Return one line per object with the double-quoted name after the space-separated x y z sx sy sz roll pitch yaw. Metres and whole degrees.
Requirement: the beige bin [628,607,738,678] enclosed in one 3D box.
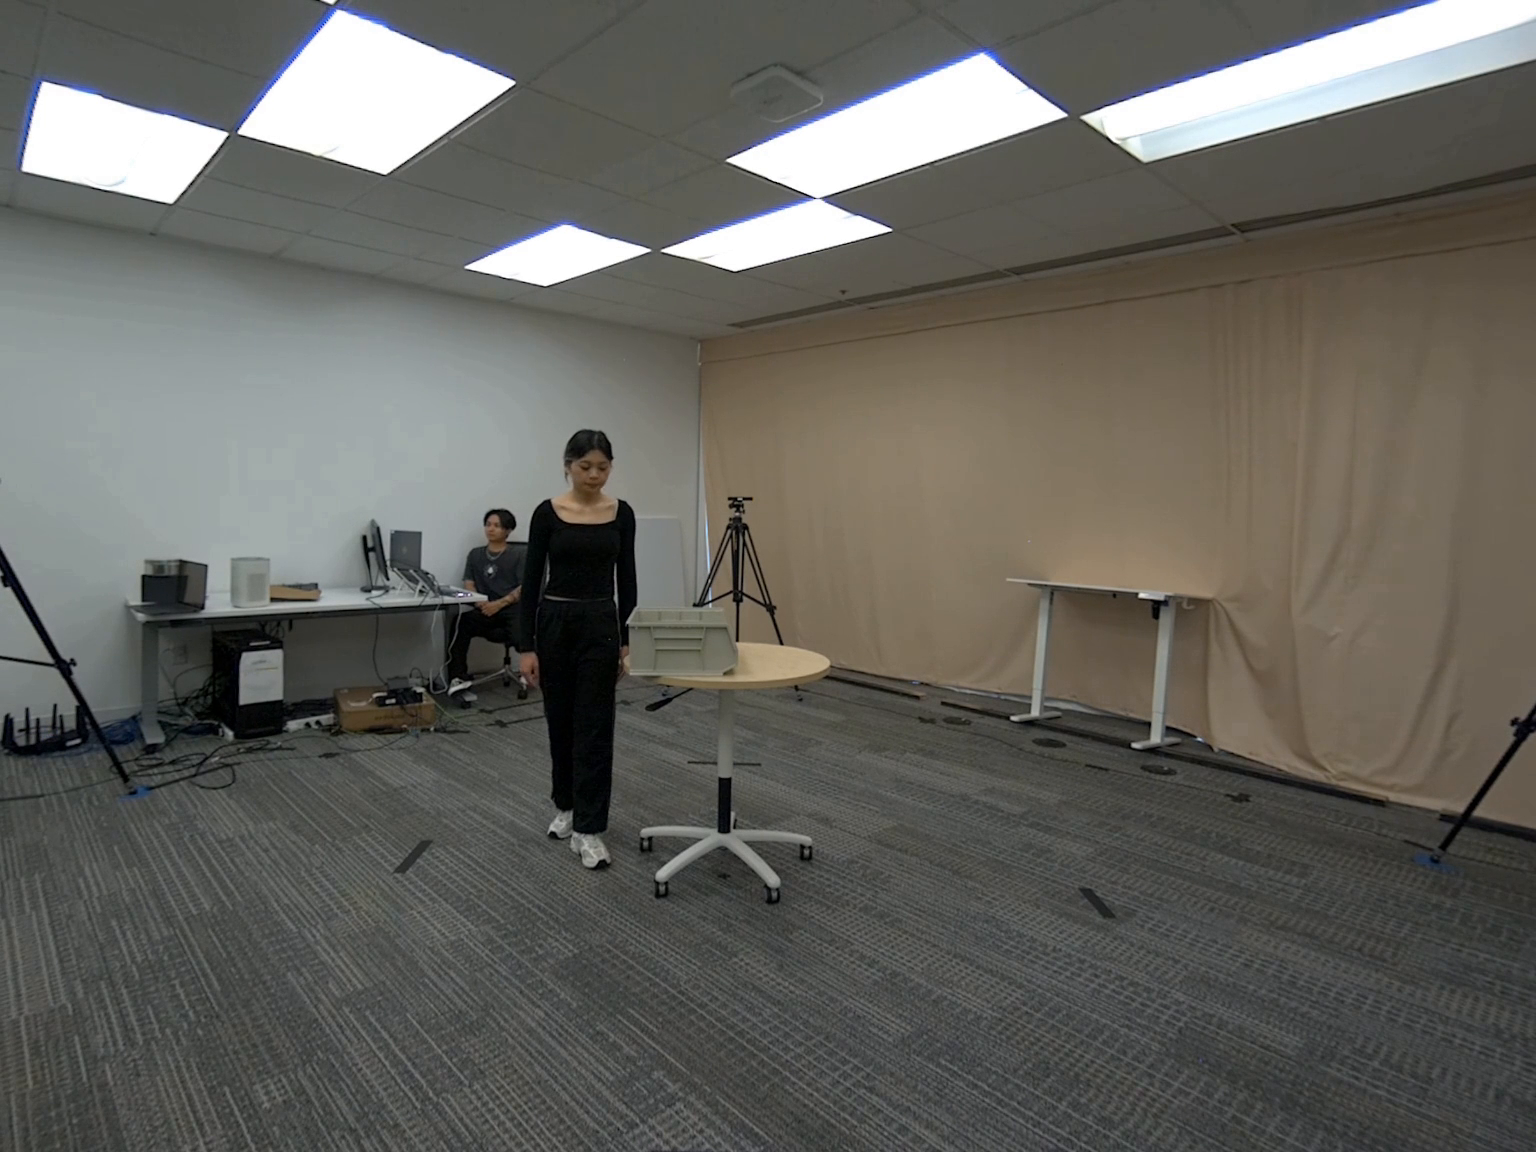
-0.311 0.229 3.022 0.376 0.188 0.425 0 5 -4 "beige bin"
